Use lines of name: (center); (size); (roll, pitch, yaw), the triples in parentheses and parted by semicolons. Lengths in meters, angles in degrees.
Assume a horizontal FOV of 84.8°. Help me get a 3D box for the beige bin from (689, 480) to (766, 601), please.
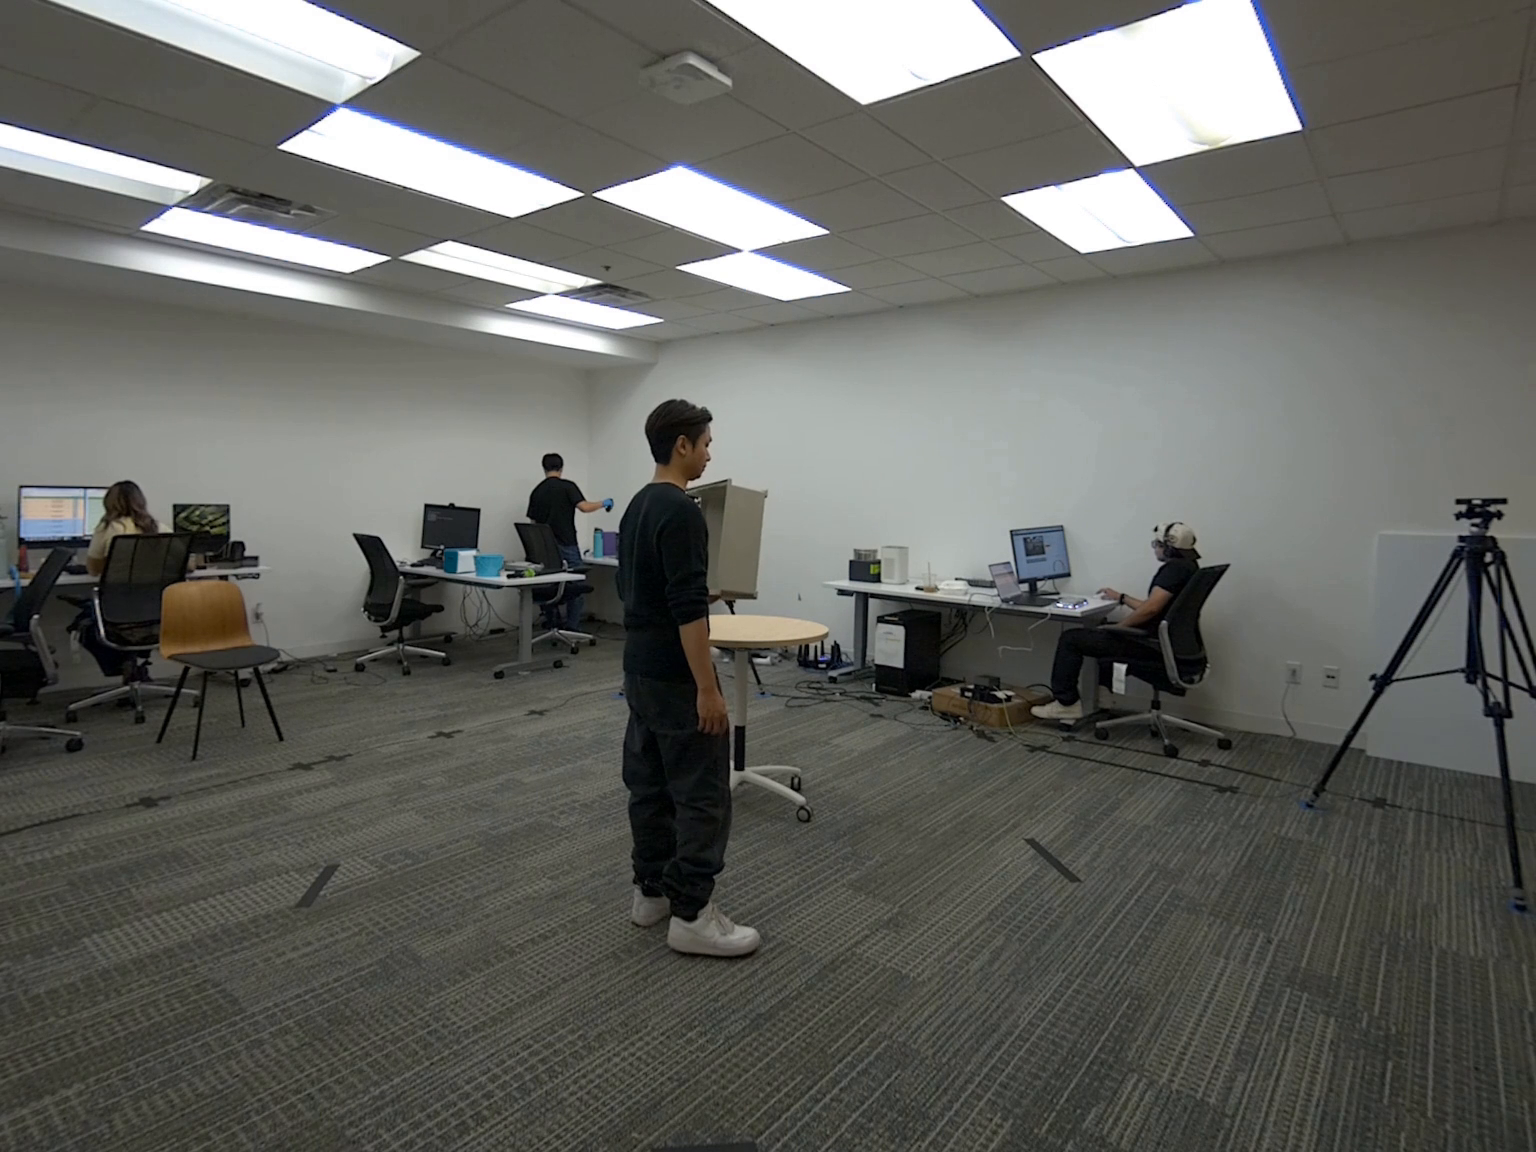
beige bin: (-0.195, -0.131, 3.239); (0.183, 0.425, 0.387); (10, -8, -32)
